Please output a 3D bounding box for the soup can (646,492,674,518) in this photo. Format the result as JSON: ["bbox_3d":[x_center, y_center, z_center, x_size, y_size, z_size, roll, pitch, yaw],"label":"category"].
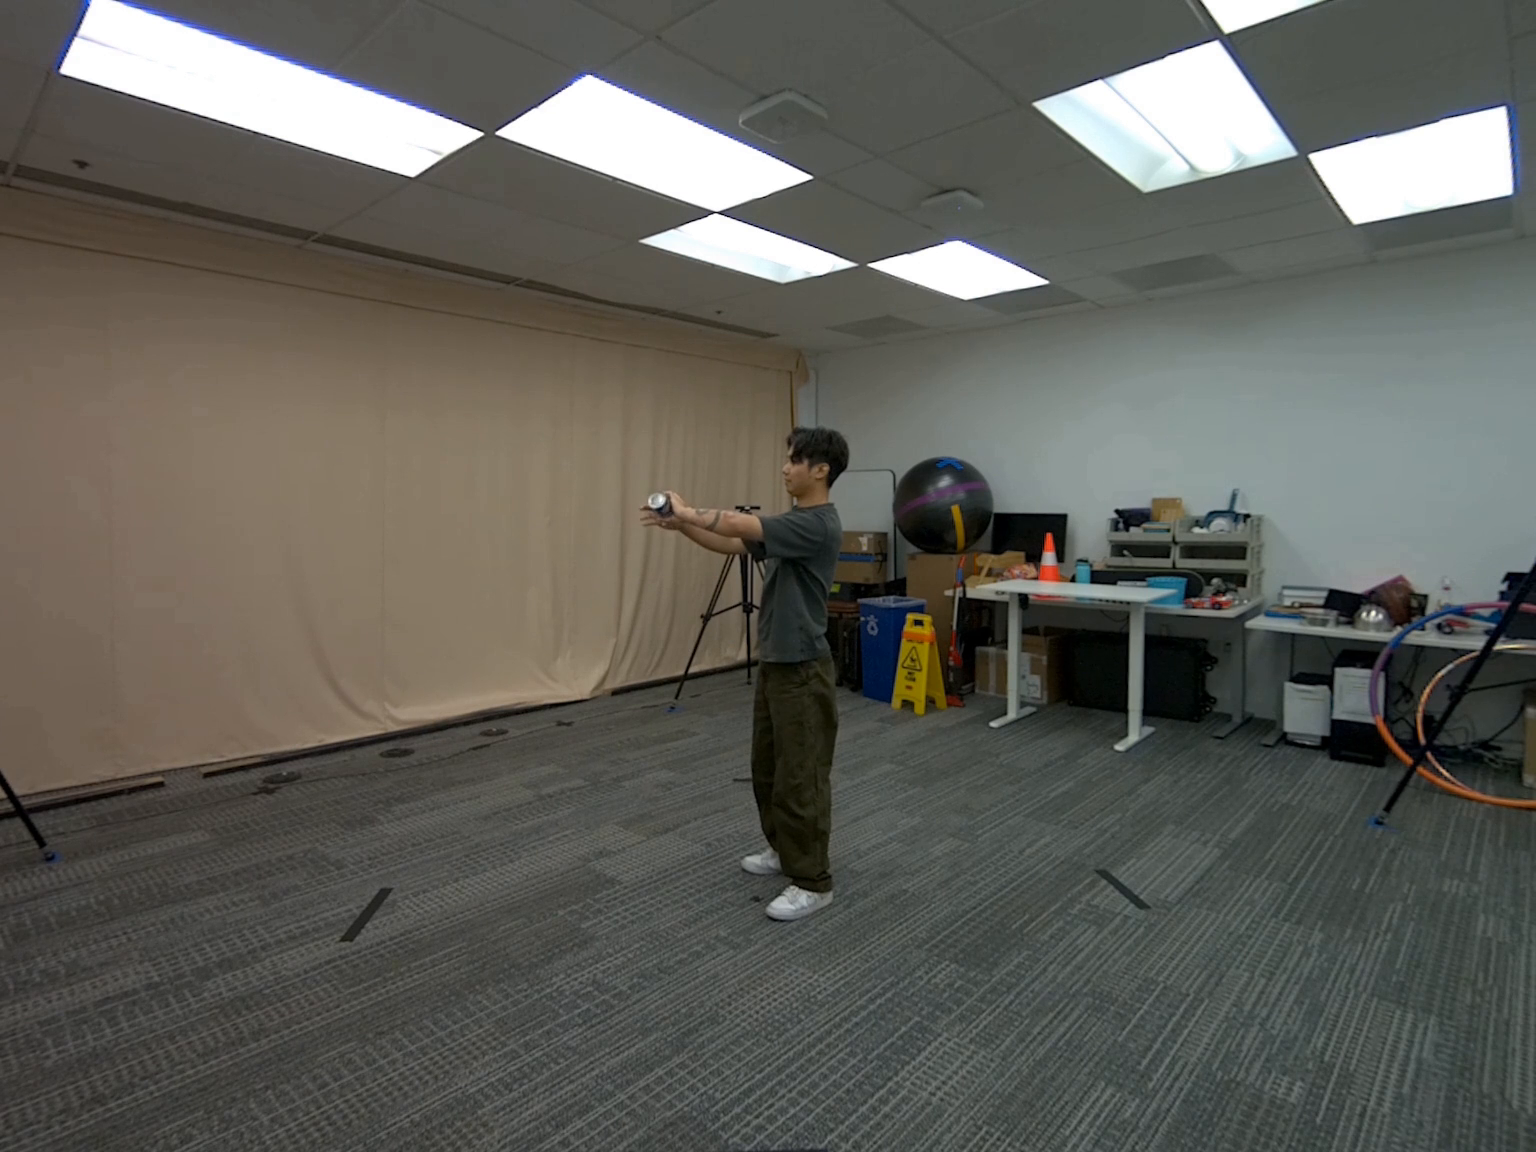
[{"bbox_3d":[-0.368,-0.237,2.929,0.068,0.068,0.119,1,-23,10],"label":"soup can"}]
